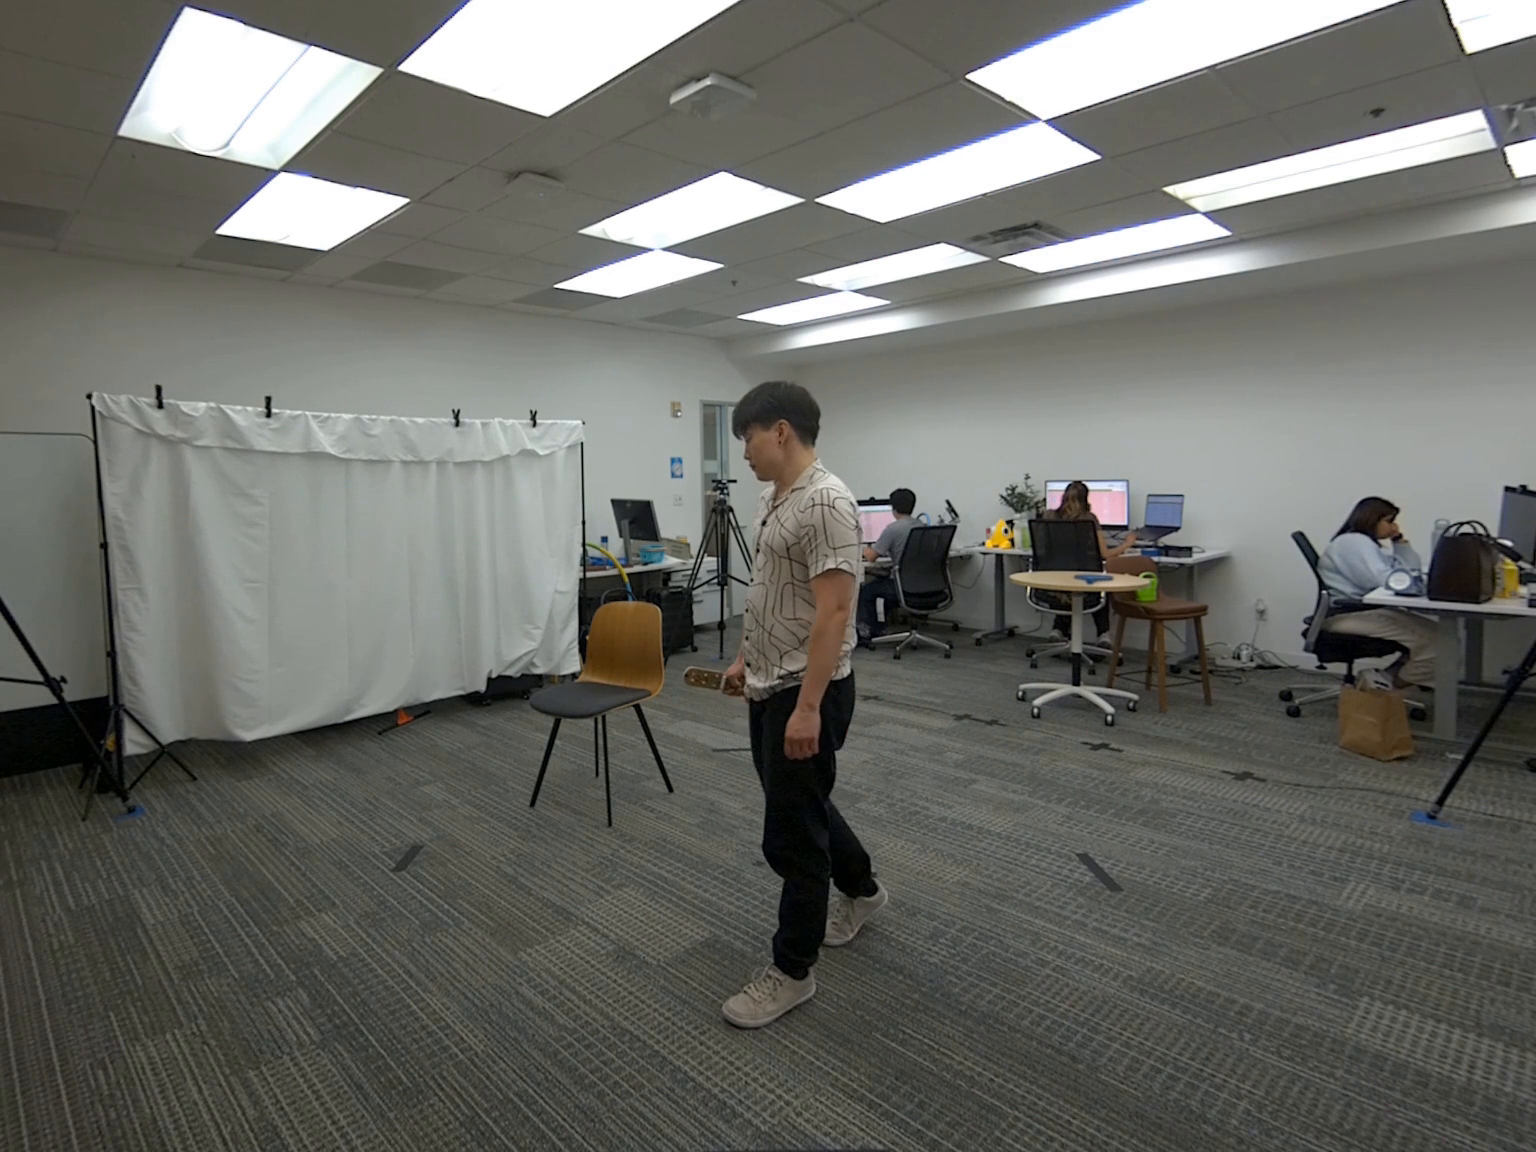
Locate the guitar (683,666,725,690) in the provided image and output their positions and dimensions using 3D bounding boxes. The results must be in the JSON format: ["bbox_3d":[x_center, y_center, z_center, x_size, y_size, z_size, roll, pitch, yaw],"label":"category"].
[{"bbox_3d":[-0.026,0.327,2.691,0.485,0.193,0.072,23,-1,-23],"label":"guitar"}]
